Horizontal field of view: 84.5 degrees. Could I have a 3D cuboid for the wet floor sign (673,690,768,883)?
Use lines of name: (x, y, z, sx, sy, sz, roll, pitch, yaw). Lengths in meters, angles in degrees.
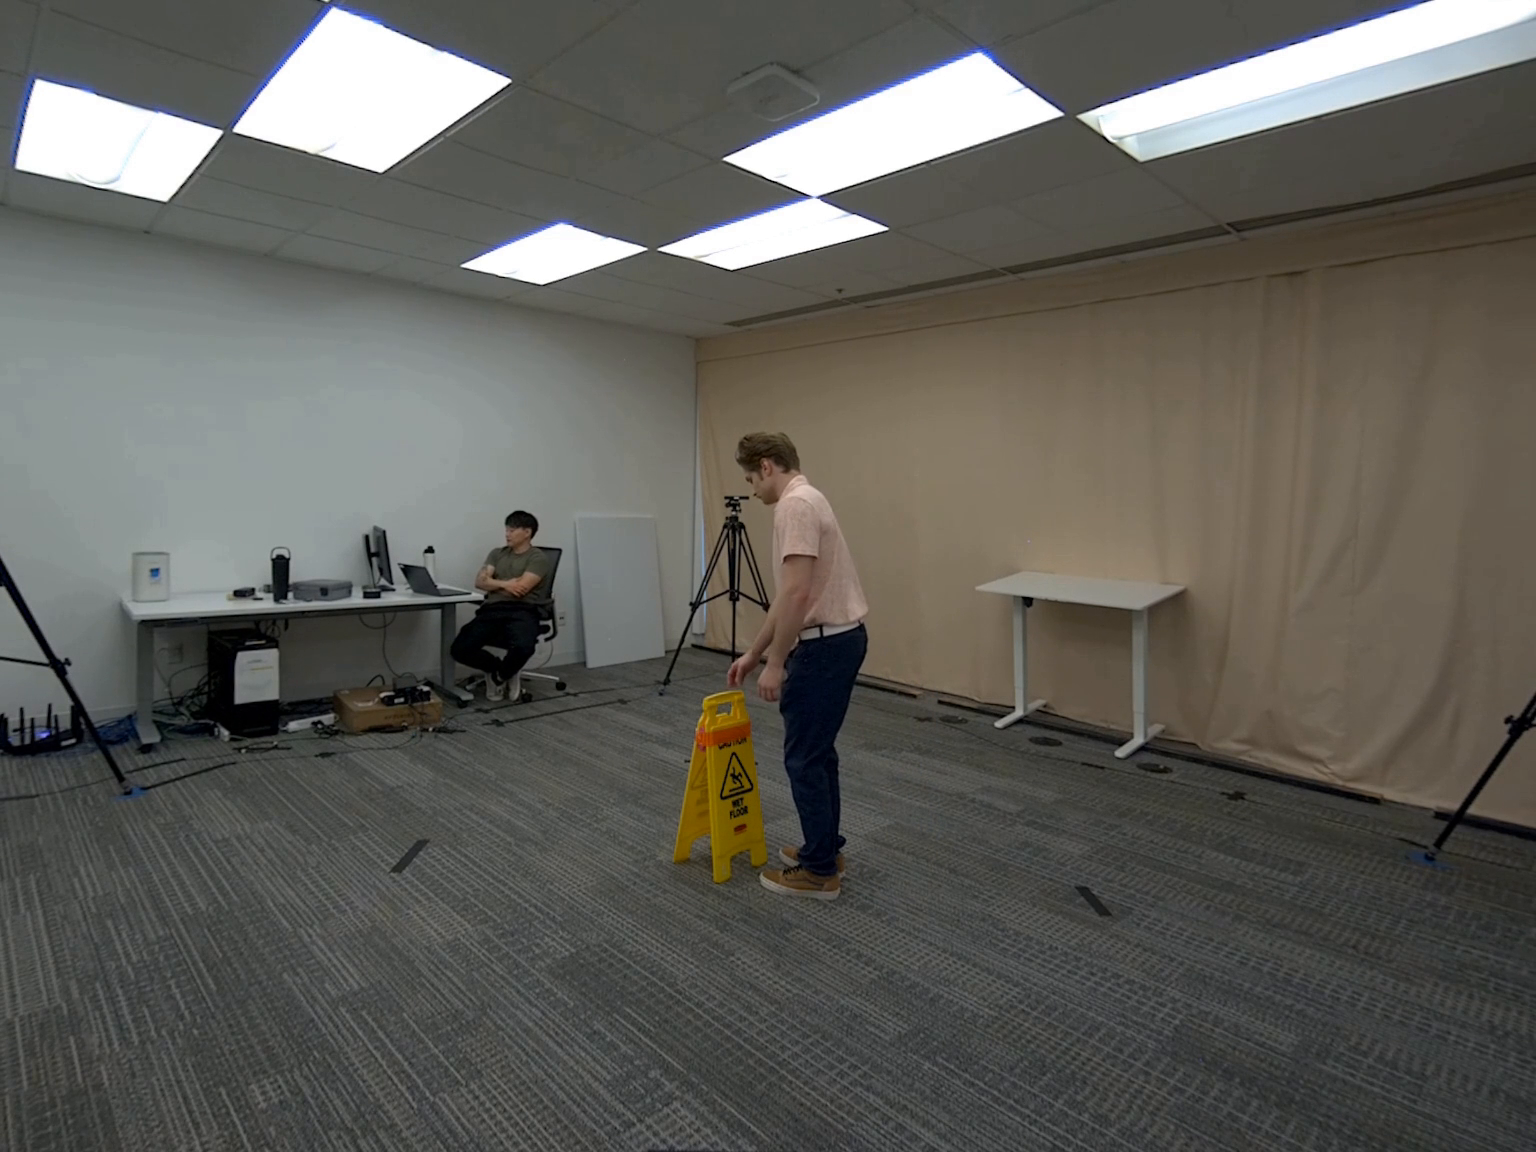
wet floor sign: (-0.183, 0.767, 3.193, 0.297, 0.645, 0.276, 3, 3, 44)
